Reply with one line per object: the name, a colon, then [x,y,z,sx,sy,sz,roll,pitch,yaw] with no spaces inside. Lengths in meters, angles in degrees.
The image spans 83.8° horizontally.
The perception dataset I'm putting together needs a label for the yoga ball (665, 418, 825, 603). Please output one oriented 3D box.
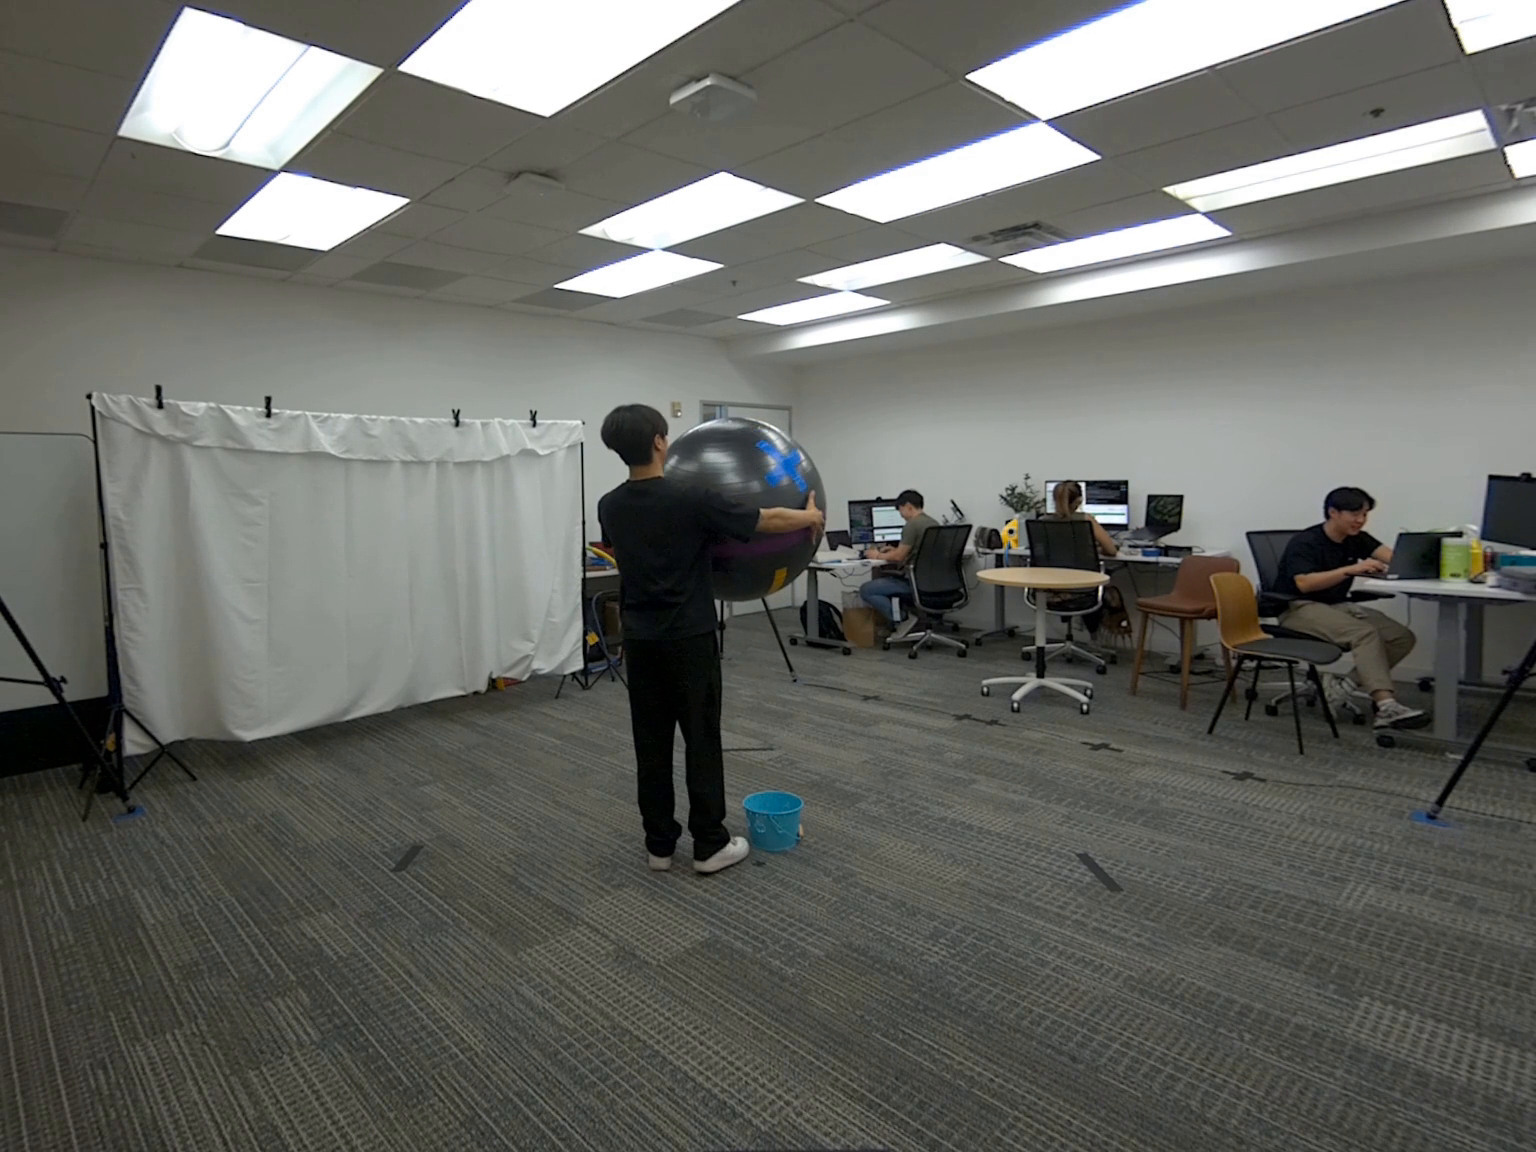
yoga ball: [-0.135,-0.264,3.560,0.757,0.755,0.762,-1,5,-2]
